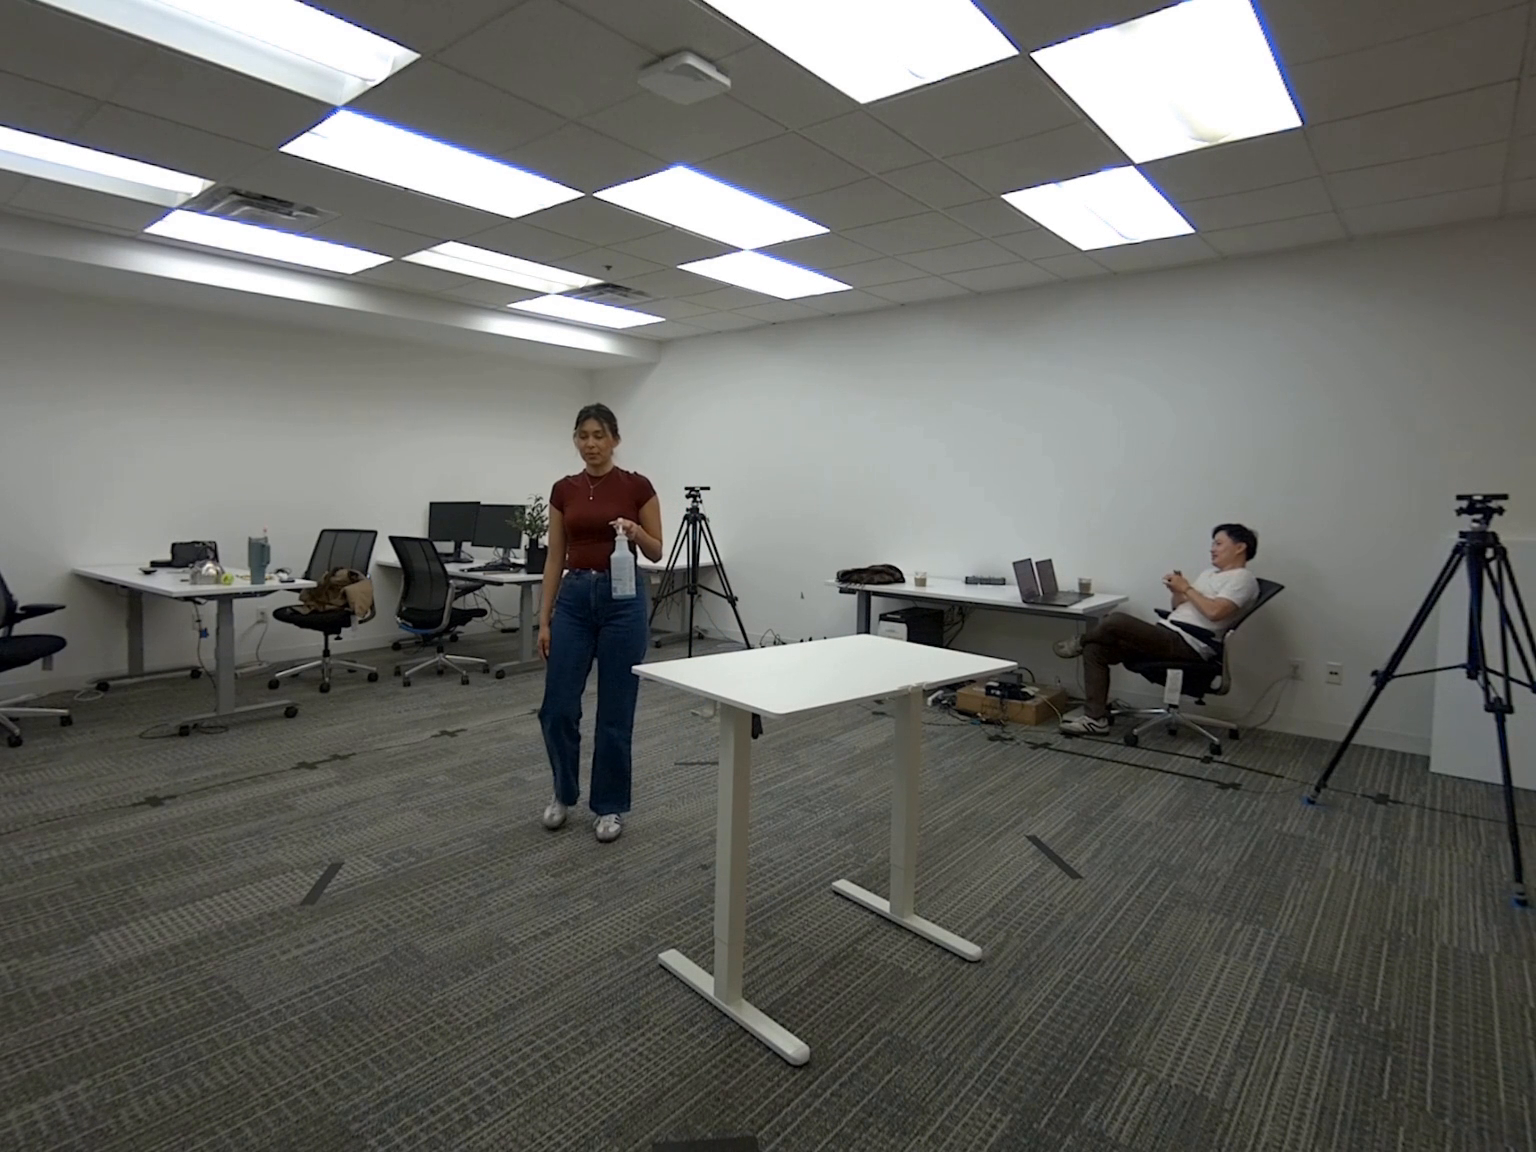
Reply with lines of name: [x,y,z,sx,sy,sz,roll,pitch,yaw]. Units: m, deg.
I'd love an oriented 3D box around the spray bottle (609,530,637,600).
spray bottle: [-0.572,-0.065,3.162,0.089,0.297,0.088,-1,0,20]
